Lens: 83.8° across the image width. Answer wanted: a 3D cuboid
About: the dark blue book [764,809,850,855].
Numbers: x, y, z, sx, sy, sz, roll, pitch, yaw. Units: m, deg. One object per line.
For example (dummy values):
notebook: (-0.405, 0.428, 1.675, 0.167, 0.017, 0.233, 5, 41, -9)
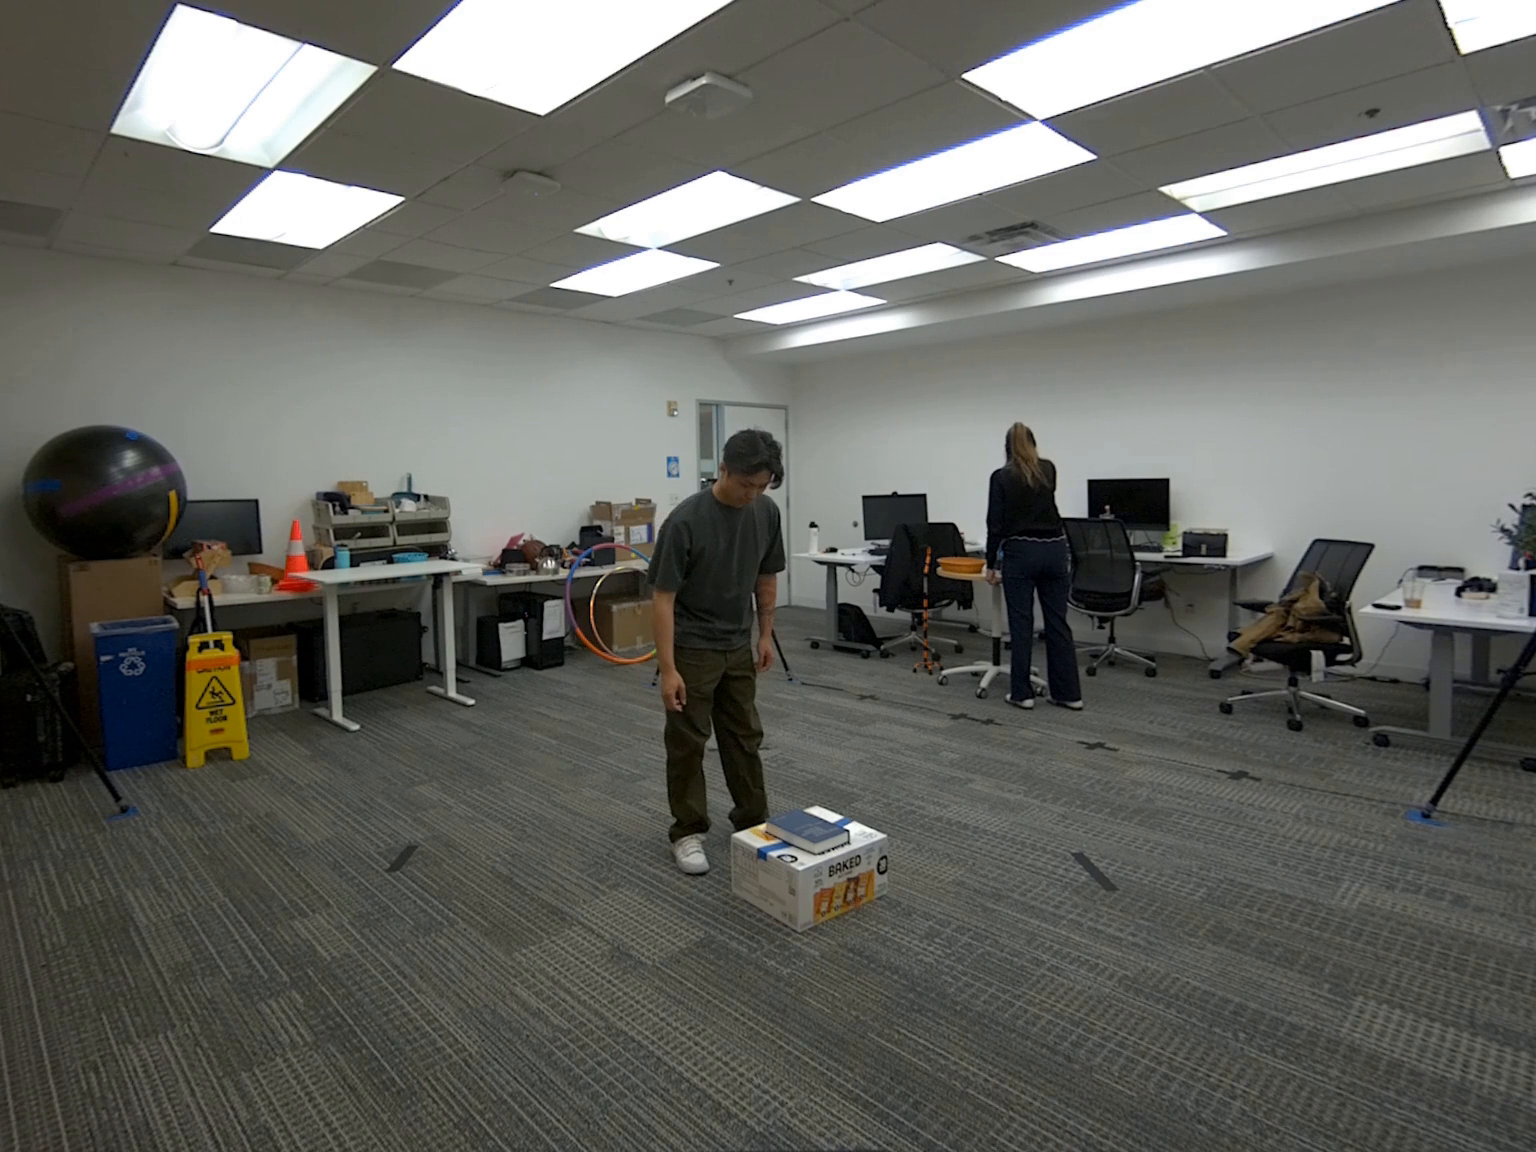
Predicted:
dark blue book: (0.138, 0.856, 2.849, 0.159, 0.045, 0.253, -6, 8, -40)
